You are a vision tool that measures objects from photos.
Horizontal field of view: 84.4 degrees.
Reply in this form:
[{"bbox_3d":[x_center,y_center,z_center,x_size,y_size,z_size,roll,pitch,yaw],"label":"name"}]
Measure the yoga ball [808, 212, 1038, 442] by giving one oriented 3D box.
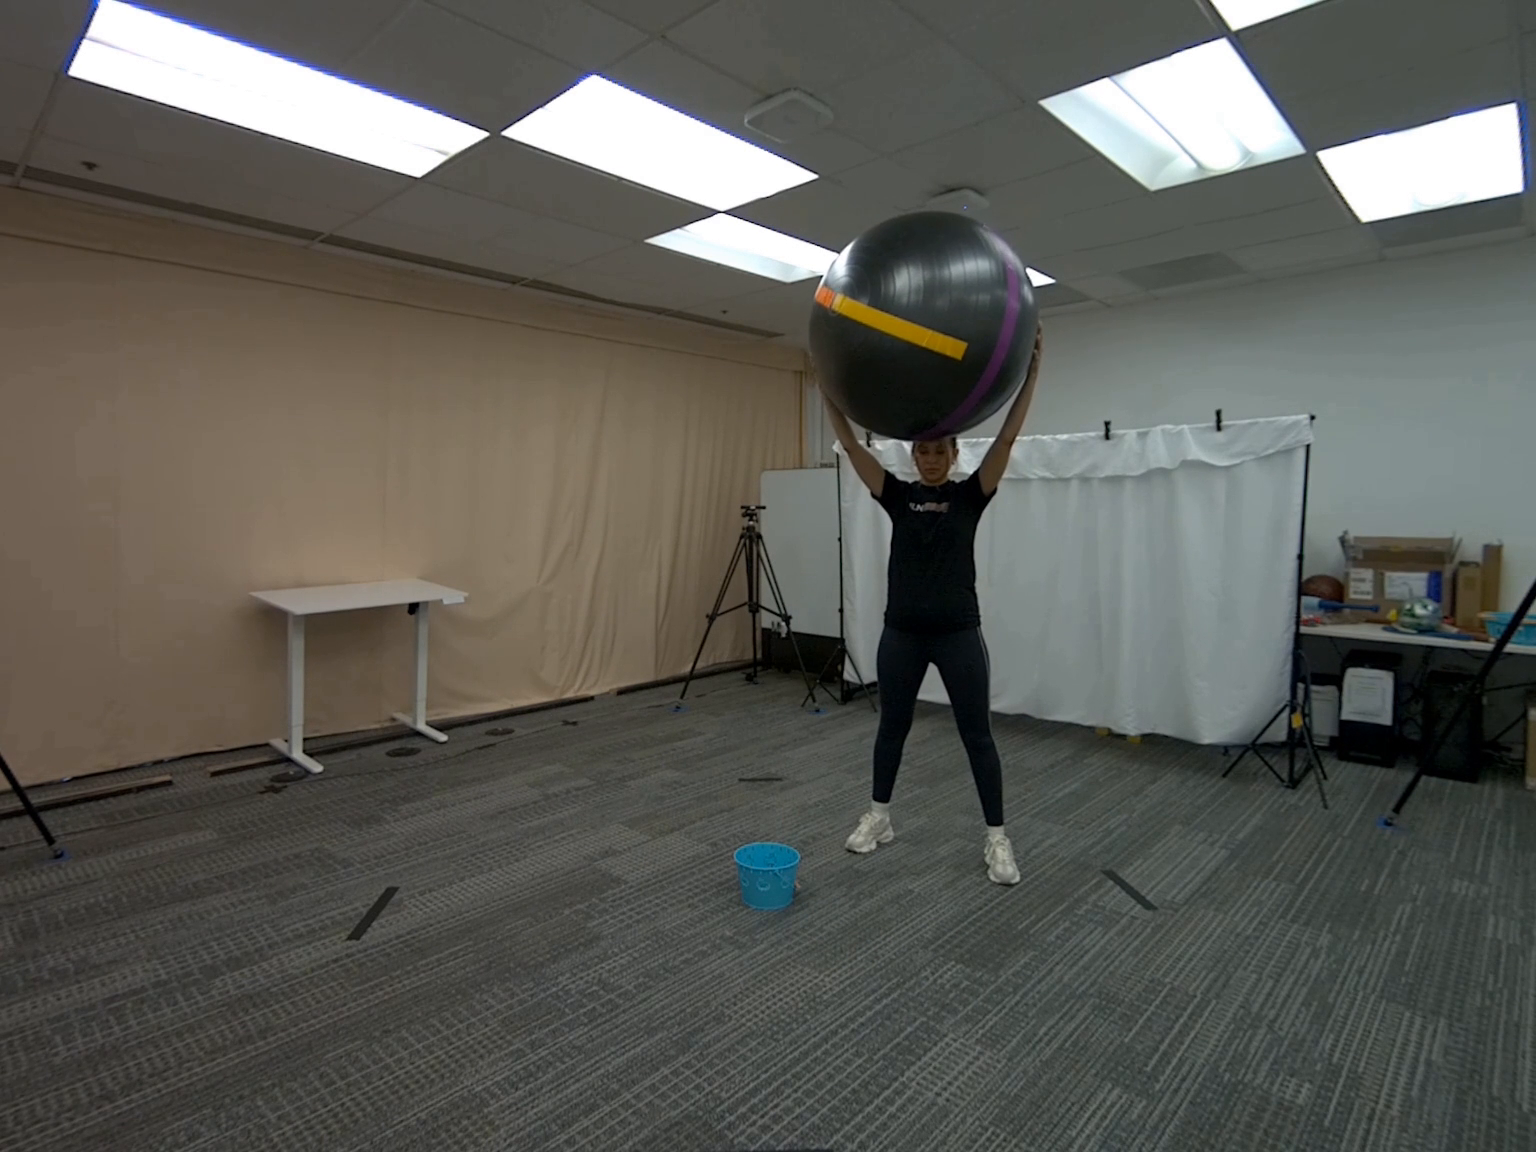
[{"bbox_3d":[0.526,-0.829,2.870,0.757,0.756,0.760,0,4,-2],"label":"yoga ball"}]
